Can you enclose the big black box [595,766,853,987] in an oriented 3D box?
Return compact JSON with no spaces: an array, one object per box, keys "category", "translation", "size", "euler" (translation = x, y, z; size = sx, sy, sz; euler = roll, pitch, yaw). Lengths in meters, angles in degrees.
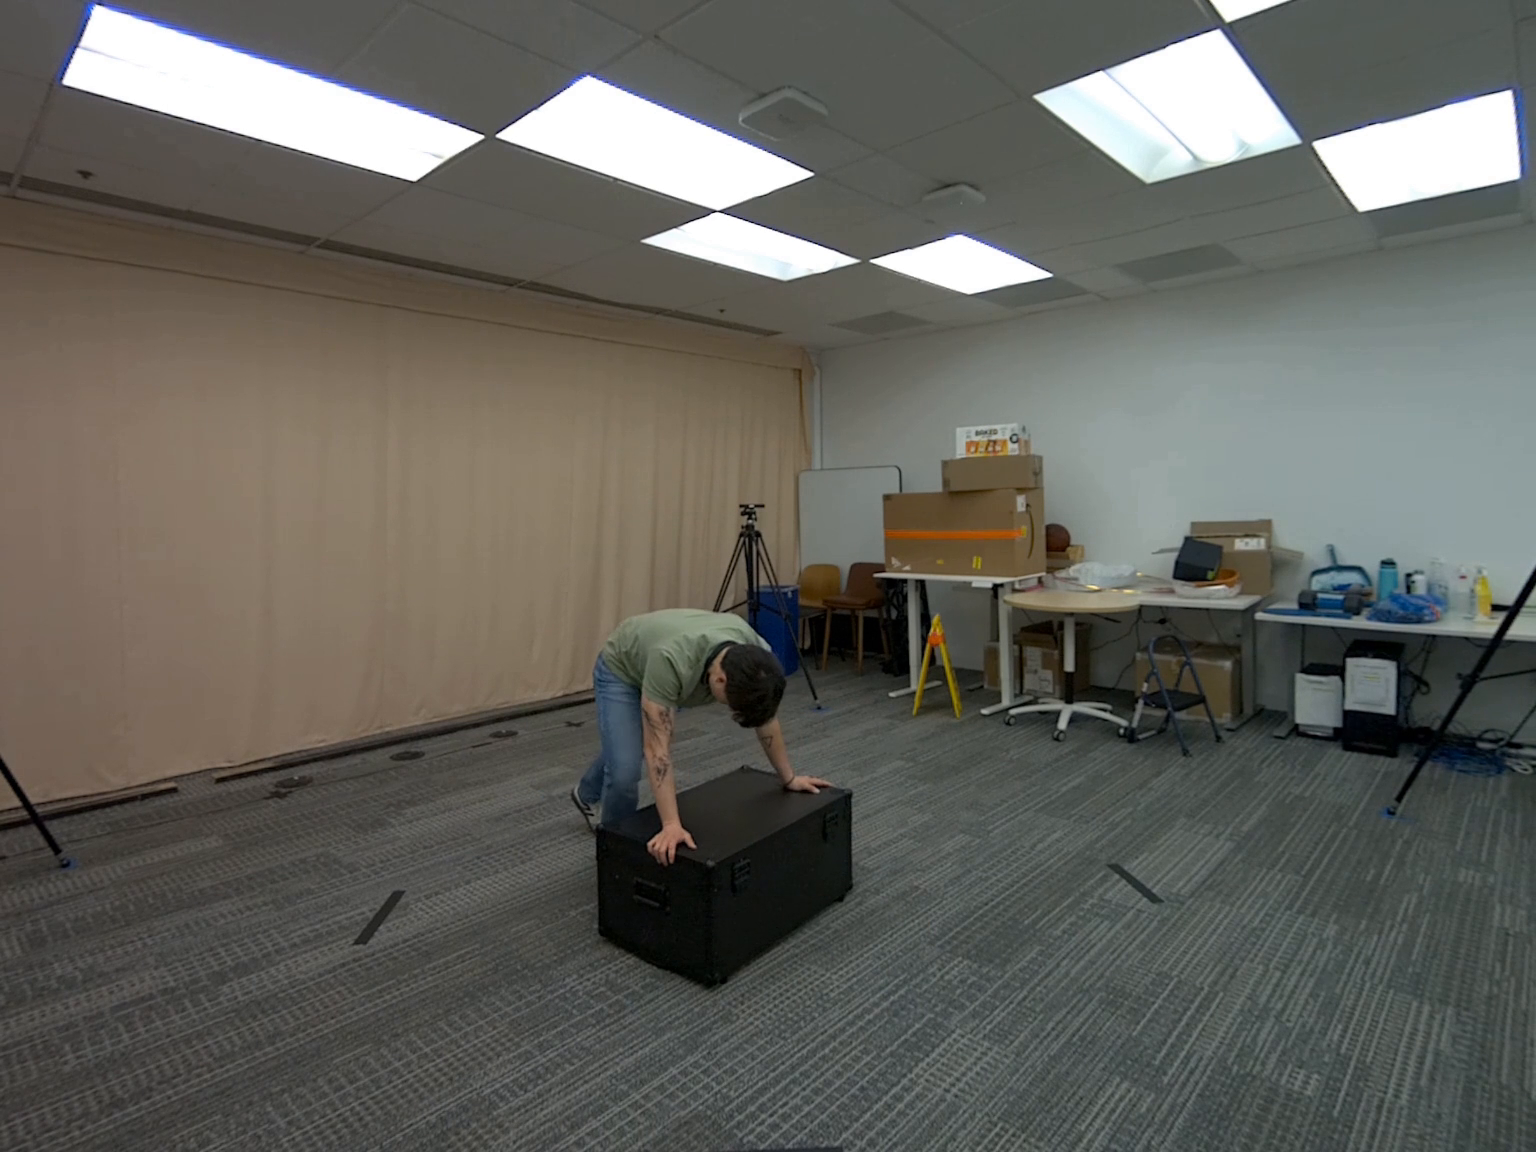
[{"category":"big black box","translation":[-0.097,0.964,2.862],"size":[0.538,0.395,0.837],"euler":[2,6,38]}]
